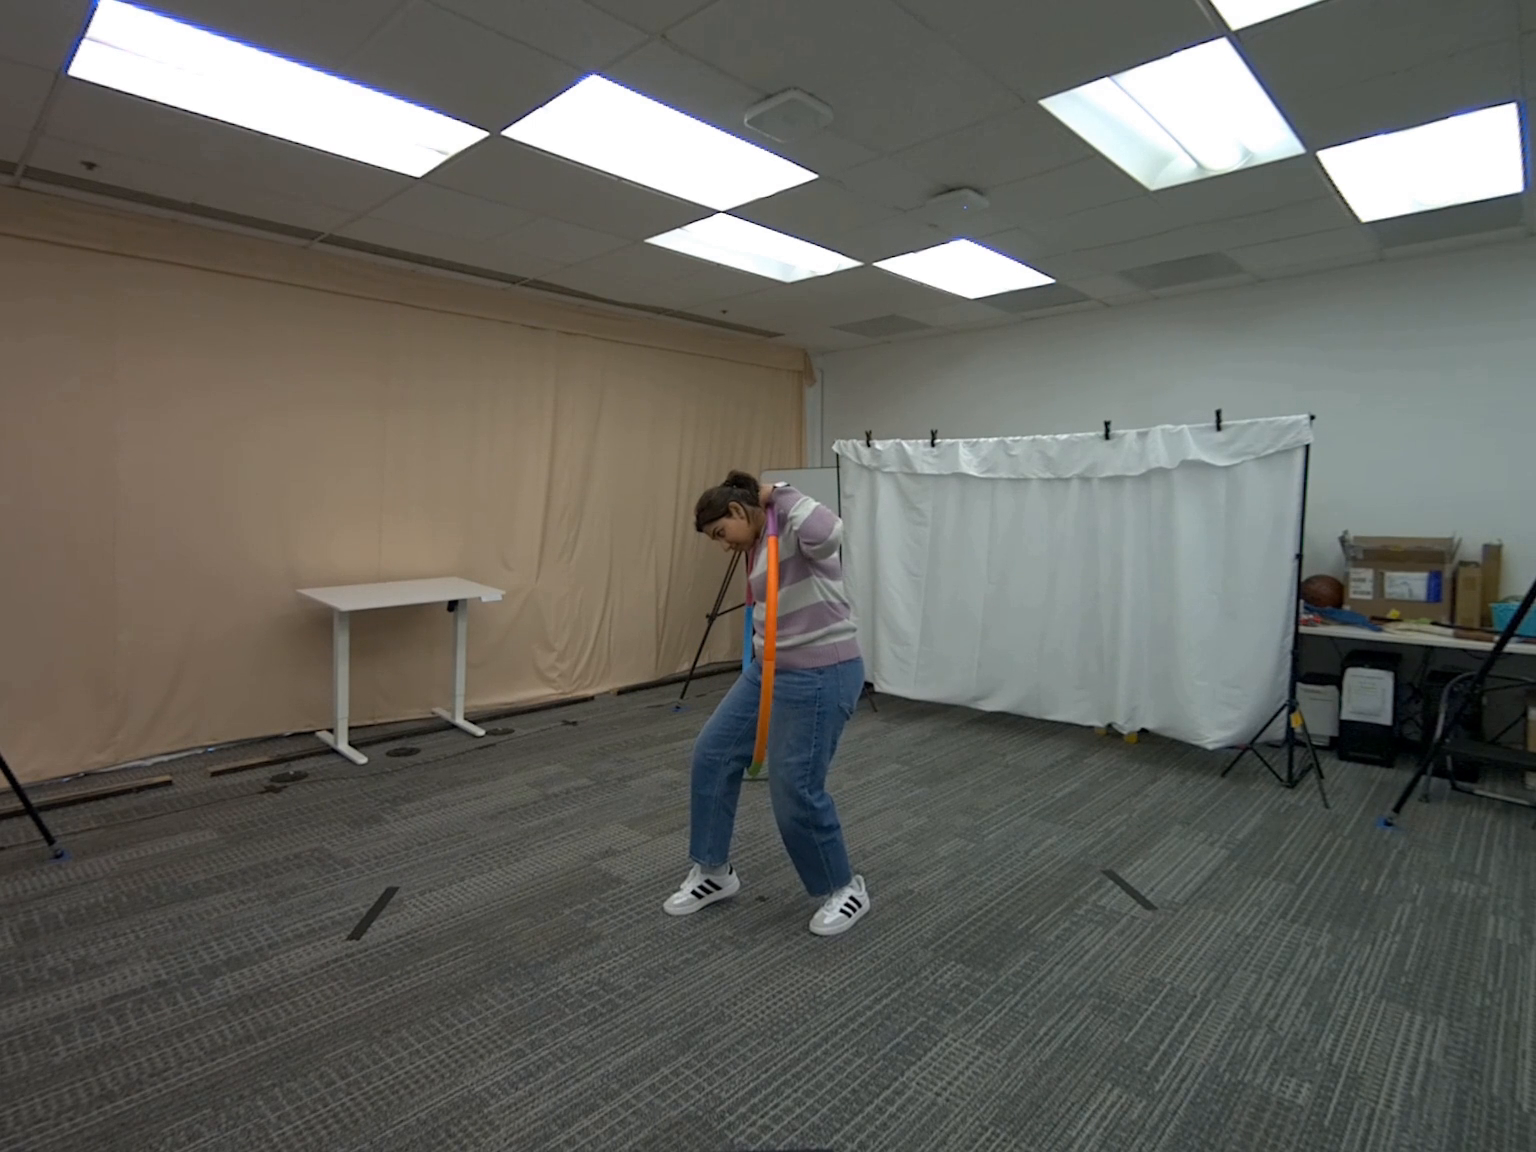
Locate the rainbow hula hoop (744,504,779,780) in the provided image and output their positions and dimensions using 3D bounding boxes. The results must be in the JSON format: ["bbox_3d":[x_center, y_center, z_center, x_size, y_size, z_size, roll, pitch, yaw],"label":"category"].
[{"bbox_3d":[-0.035,0.176,2.894,0.051,0.983,0.987,1,4,-2],"label":"rainbow hula hoop"}]
